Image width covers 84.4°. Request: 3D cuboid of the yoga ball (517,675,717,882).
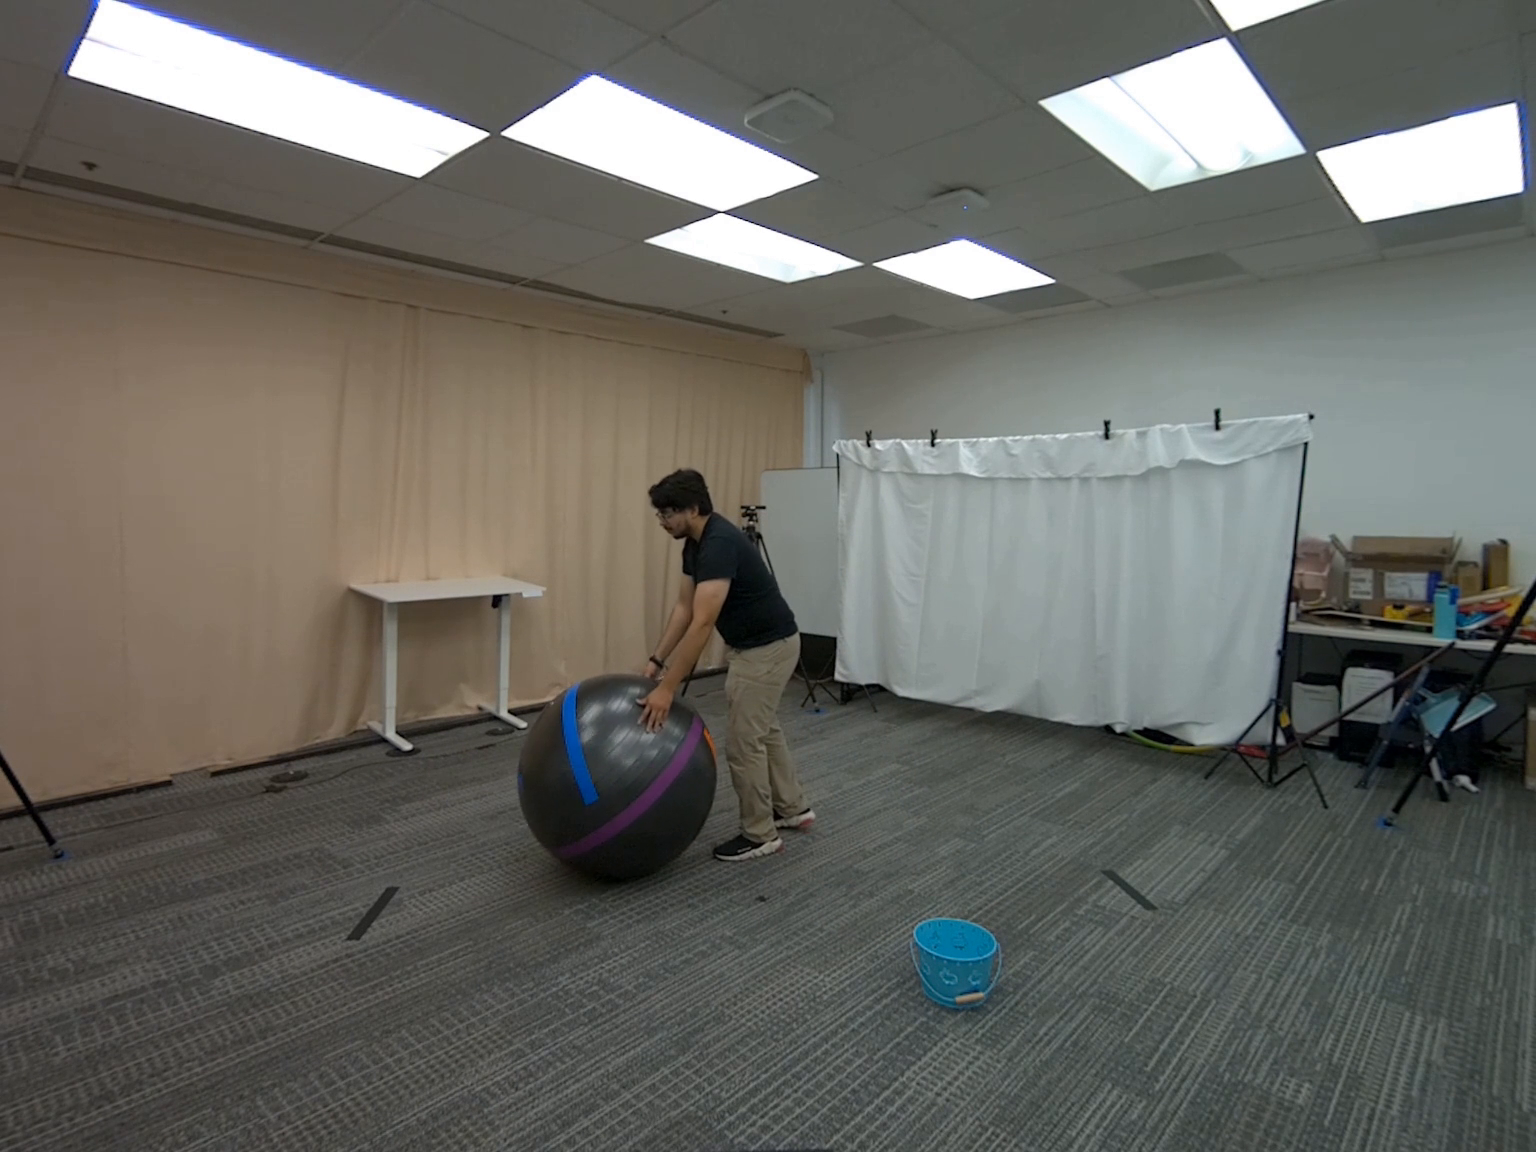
[{"bbox_3d":[-0.578,0.761,3.235,0.757,0.756,0.760,0,4,-2],"label":"yoga ball"}]
